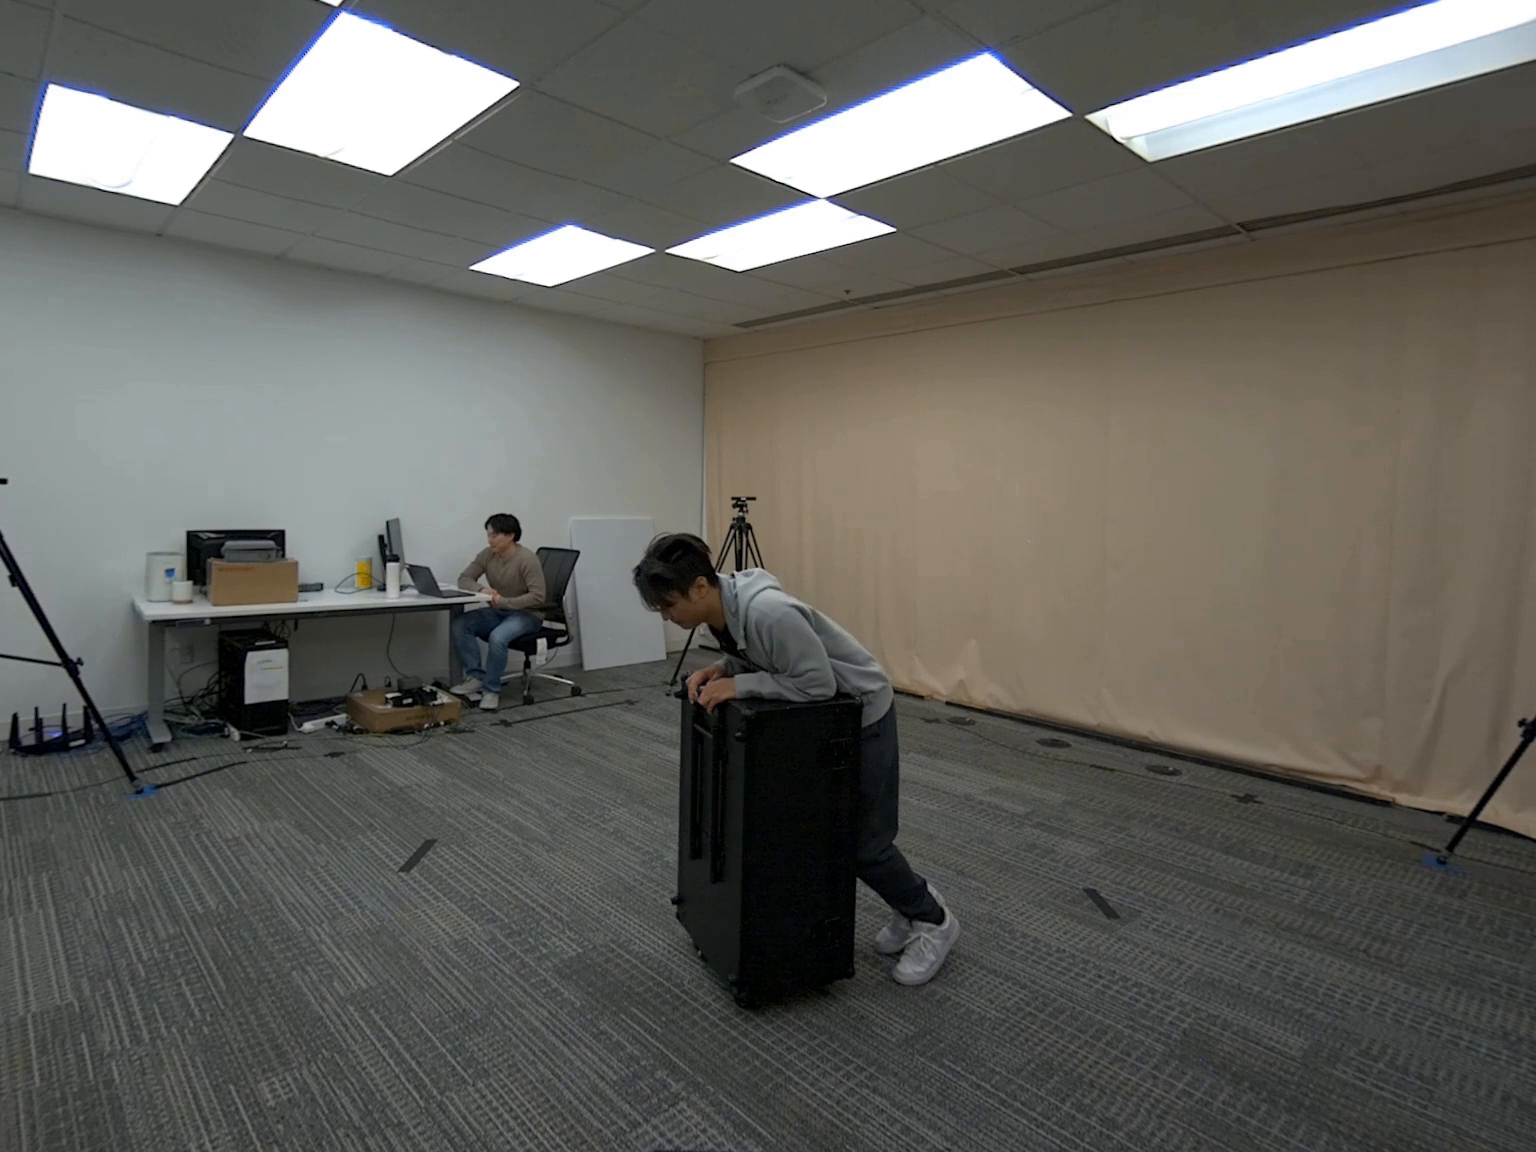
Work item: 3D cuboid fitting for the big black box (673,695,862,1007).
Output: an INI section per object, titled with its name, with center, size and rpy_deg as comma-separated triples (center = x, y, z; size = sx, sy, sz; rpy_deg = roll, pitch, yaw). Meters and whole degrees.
[big black box]
center = -0.031, 0.748, 2.456
size = 0.389, 0.858, 0.532
rpy_deg = -1, 5, -24
